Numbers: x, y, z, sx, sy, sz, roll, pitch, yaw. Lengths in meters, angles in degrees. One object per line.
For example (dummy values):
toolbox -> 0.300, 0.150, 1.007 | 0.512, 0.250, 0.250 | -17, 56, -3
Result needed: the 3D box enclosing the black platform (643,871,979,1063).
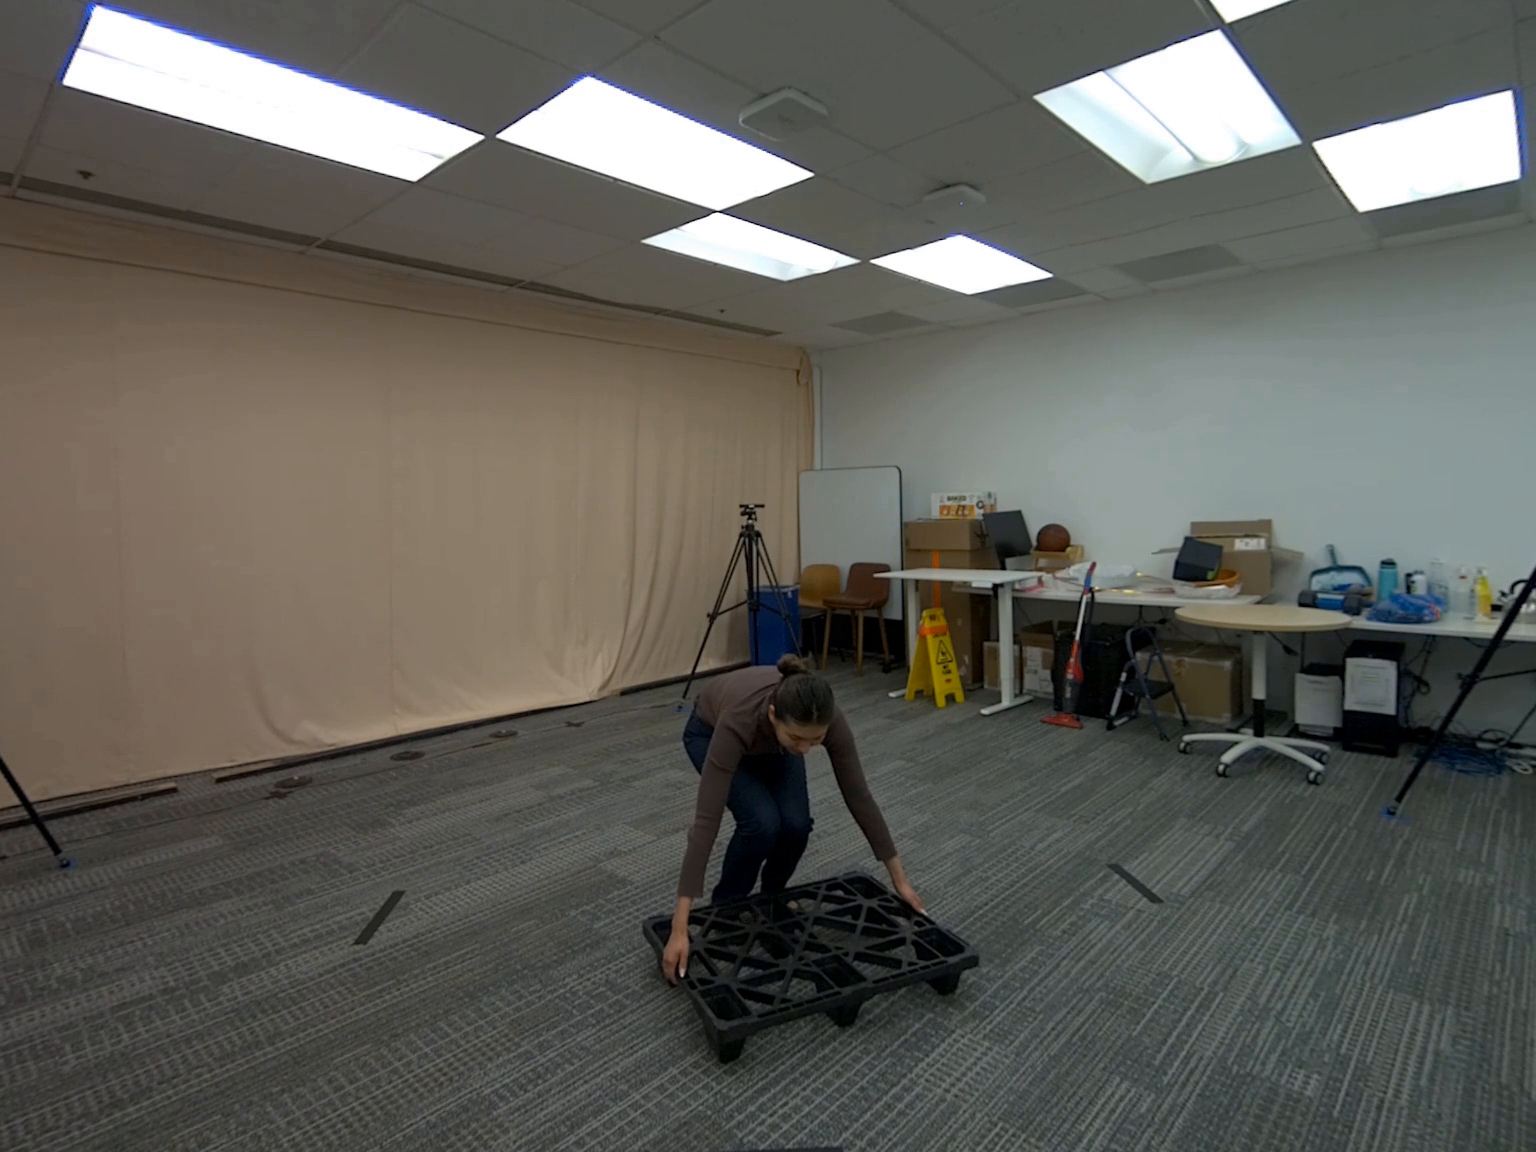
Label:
black platform -> 0.105, 1.116, 2.449 | 0.787, 0.143, 0.621 | -3, 5, -25
